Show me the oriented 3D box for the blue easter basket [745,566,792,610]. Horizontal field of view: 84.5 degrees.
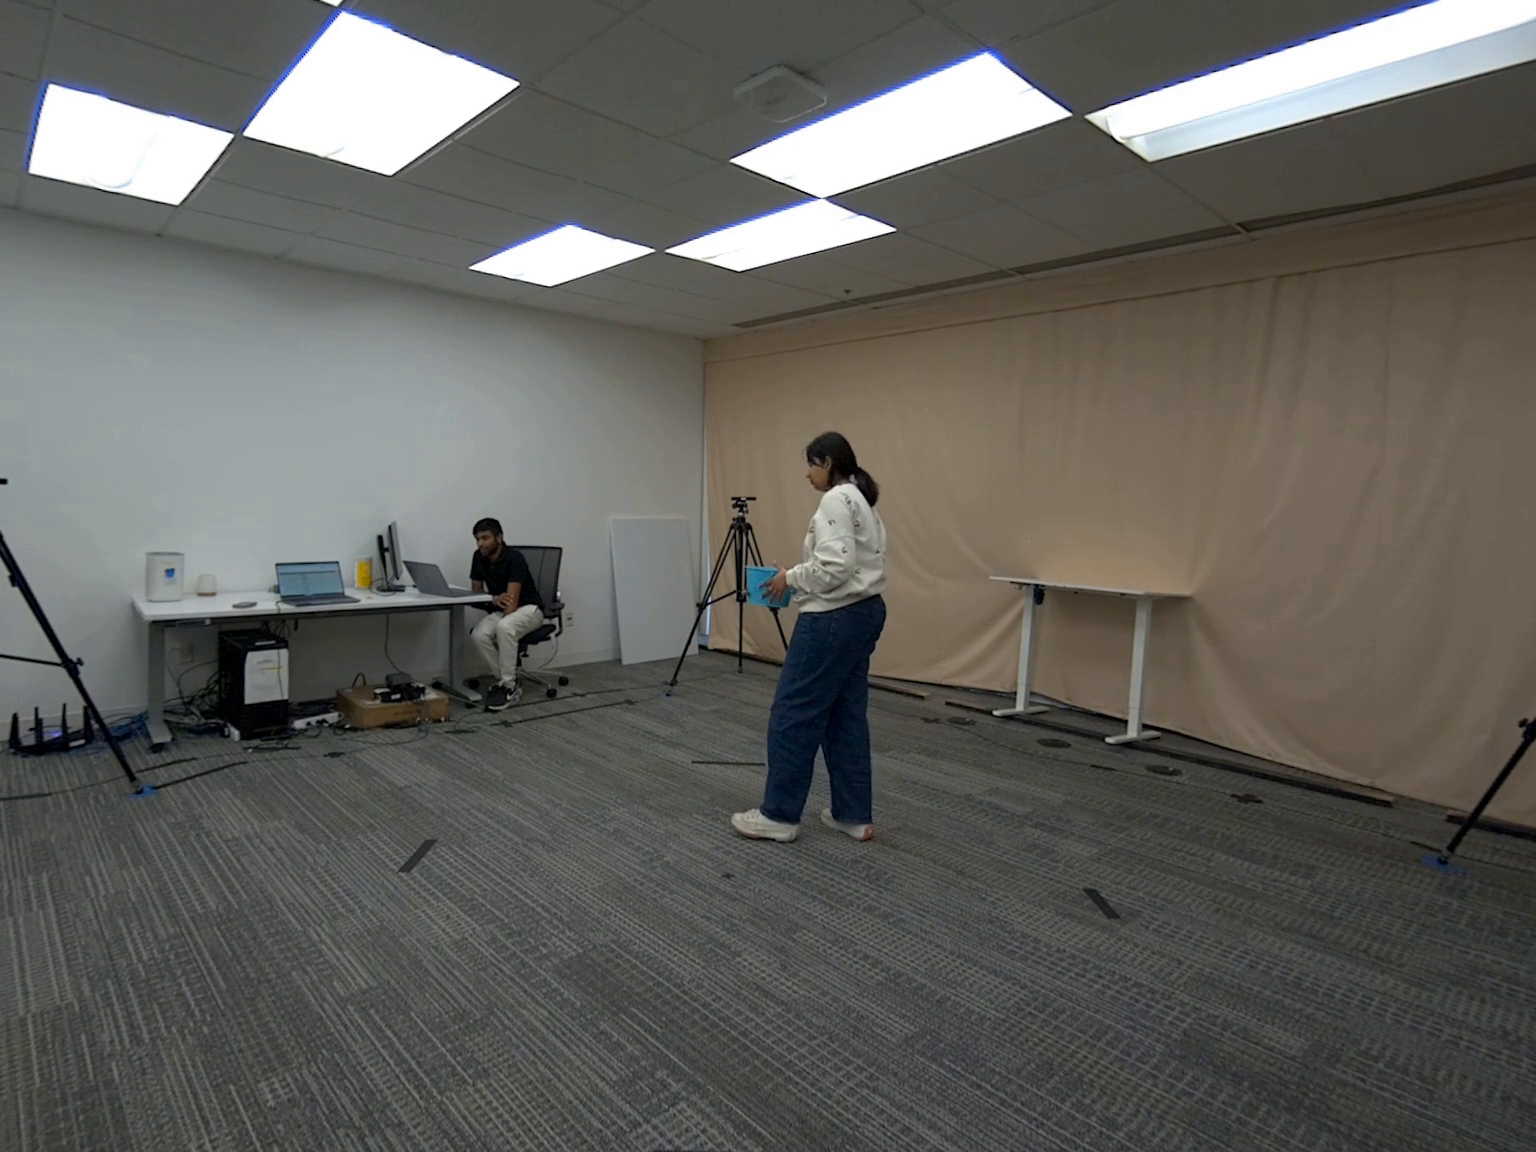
[{"bbox_3d":[0.000,0.044,3.656,0.243,0.156,0.244,5,2,-2],"label":"blue easter basket"}]
